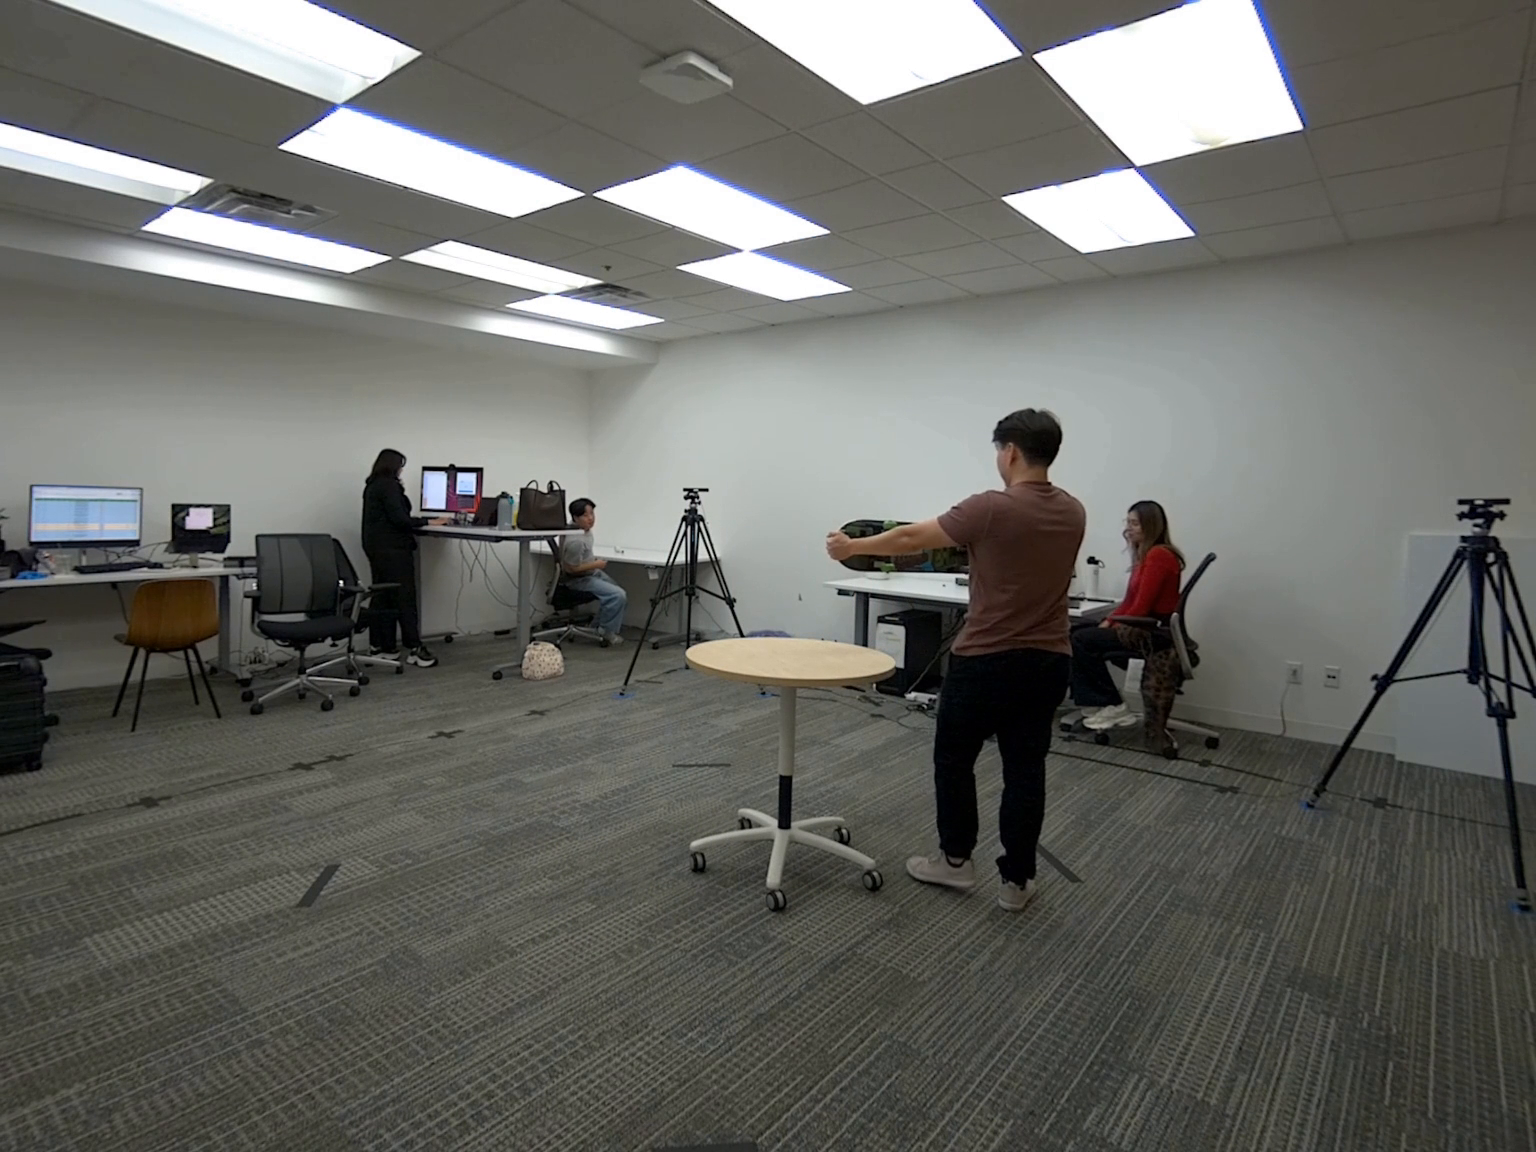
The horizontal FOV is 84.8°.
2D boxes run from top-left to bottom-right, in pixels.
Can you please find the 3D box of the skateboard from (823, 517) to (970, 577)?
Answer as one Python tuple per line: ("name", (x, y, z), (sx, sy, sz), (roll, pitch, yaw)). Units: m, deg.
("skateboard", (0.573, -0.109, 3.242), (0.764, 0.192, 0.114), (1, 7, -30))
